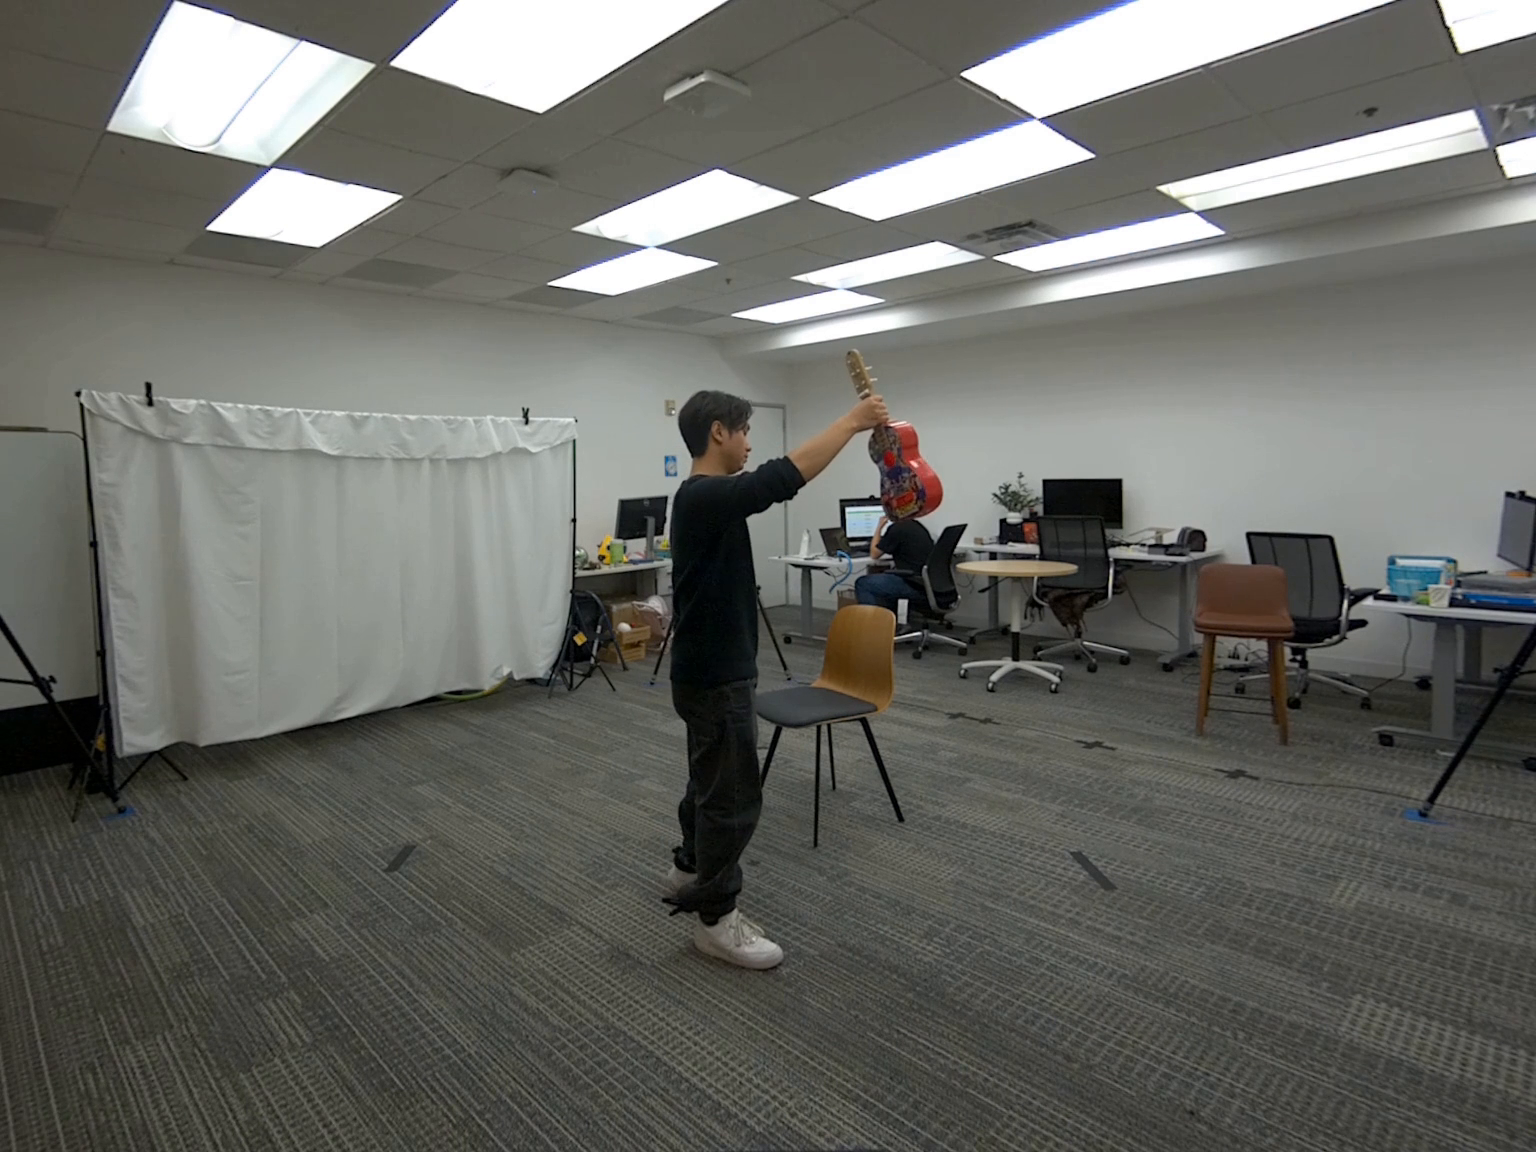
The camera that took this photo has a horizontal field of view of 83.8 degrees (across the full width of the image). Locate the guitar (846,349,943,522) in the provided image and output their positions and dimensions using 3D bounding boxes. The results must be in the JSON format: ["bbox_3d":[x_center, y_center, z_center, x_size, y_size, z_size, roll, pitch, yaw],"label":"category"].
[{"bbox_3d":[0.342,-0.398,2.357,0.069,0.497,0.196,-14,1,-27],"label":"guitar"}]
